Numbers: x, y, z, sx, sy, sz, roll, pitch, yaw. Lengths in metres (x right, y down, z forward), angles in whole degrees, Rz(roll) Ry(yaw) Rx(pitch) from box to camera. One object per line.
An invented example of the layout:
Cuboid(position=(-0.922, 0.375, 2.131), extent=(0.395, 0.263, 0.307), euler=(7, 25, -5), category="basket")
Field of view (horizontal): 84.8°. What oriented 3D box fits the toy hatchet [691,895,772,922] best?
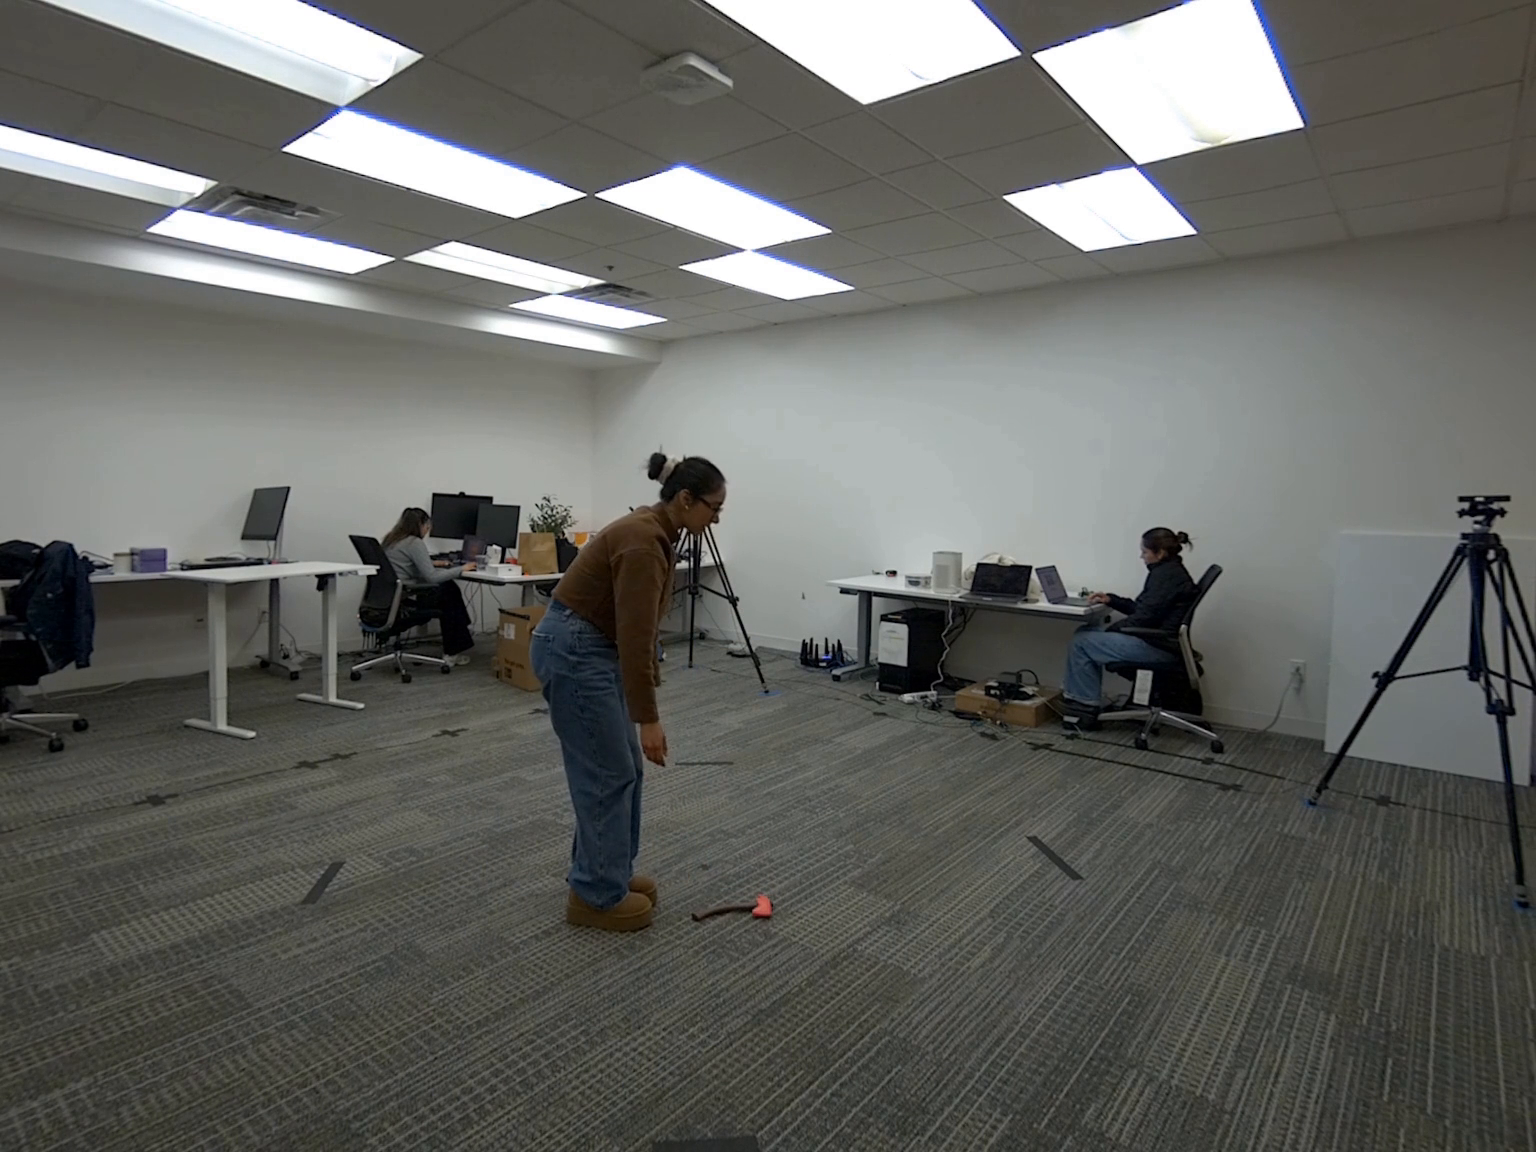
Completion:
Cuboid(position=(-0.112, 1.093, 2.751), extent=(0.263, 0.029, 0.135), euler=(-4, 7, -31), category="toy hatchet")
